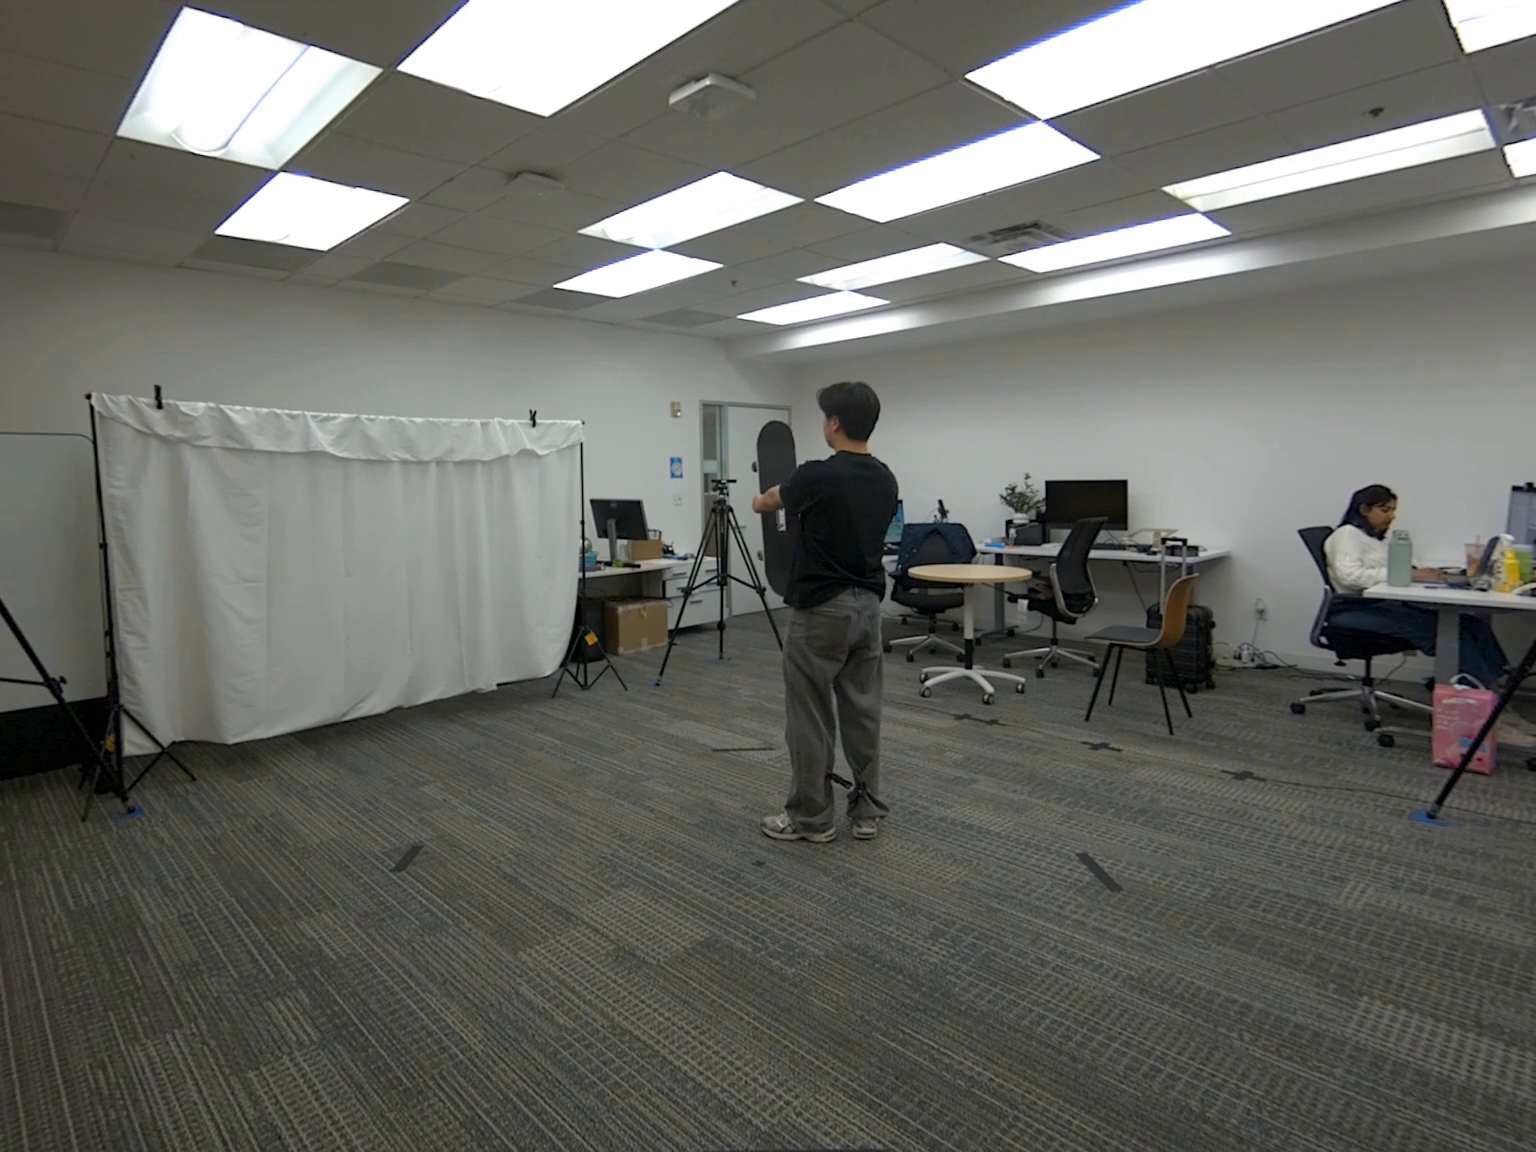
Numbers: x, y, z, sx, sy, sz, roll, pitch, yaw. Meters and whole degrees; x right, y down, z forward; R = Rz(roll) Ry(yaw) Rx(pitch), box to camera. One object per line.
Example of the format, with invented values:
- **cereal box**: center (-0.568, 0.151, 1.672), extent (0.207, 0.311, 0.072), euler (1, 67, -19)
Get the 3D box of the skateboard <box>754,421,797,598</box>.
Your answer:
- **skateboard**: center (0.040, -0.295, 3.813), extent (0.190, 0.790, 0.112), euler (-1, -6, -22)
